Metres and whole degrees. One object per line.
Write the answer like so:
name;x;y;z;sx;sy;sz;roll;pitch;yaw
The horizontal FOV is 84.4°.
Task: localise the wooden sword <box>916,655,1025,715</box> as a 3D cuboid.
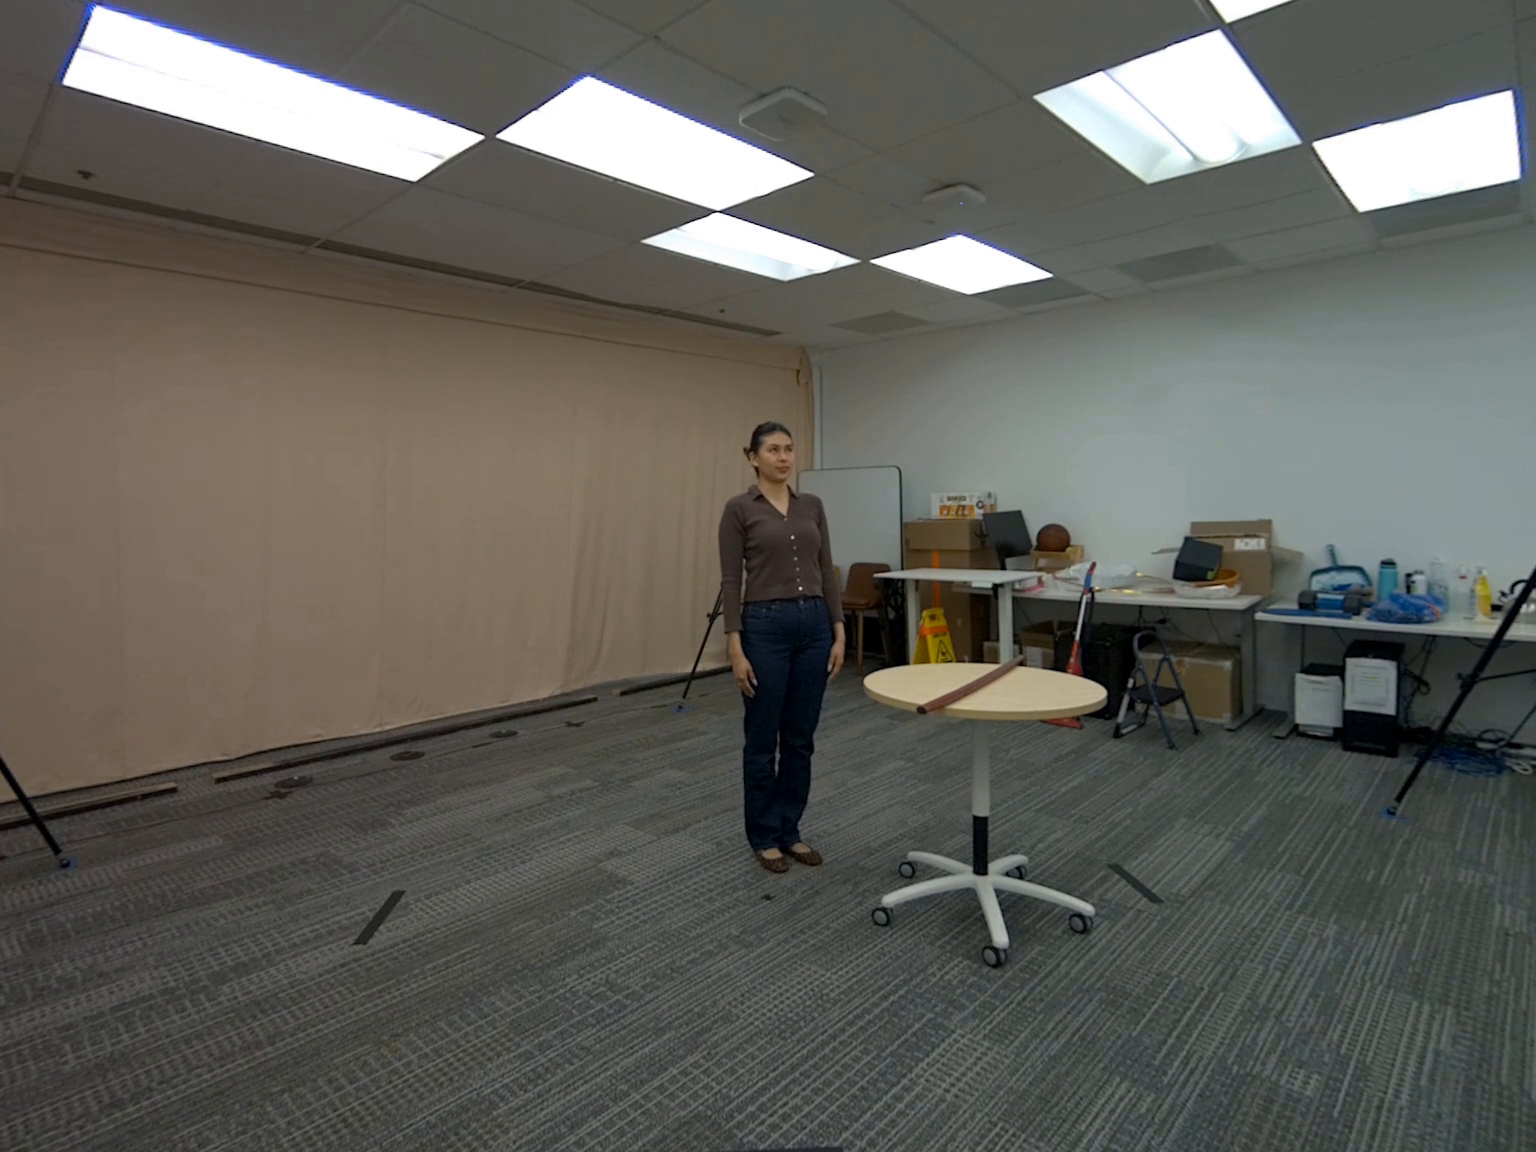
wooden sword;0.720;0.360;2.766;0.025;0.051;0.997;37;22;24
